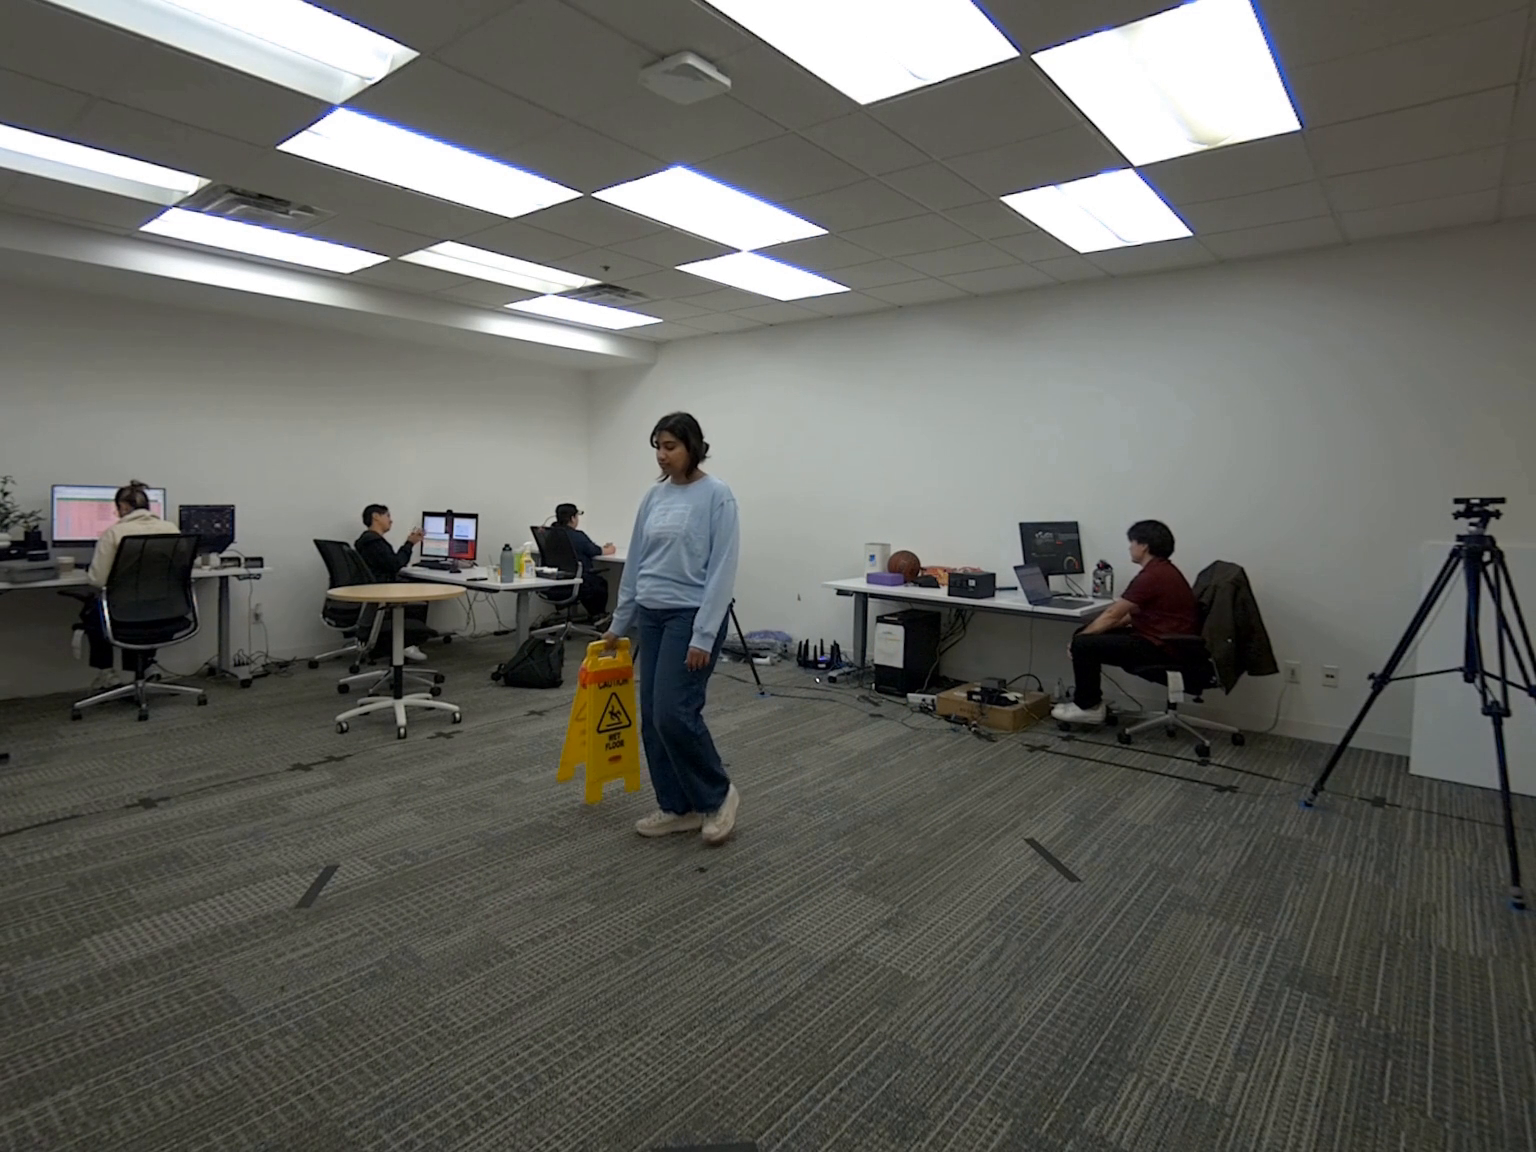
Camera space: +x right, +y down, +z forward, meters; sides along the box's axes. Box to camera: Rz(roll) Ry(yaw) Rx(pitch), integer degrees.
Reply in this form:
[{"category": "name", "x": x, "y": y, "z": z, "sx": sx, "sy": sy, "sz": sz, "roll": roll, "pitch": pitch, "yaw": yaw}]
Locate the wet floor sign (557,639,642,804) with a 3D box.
[{"category": "wet floor sign", "x": -0.702, "y": 0.585, "z": 3.617, "sx": 0.274, "sy": 0.641, "sz": 0.301, "roll": -3, "pitch": 12, "yaw": -45}]
